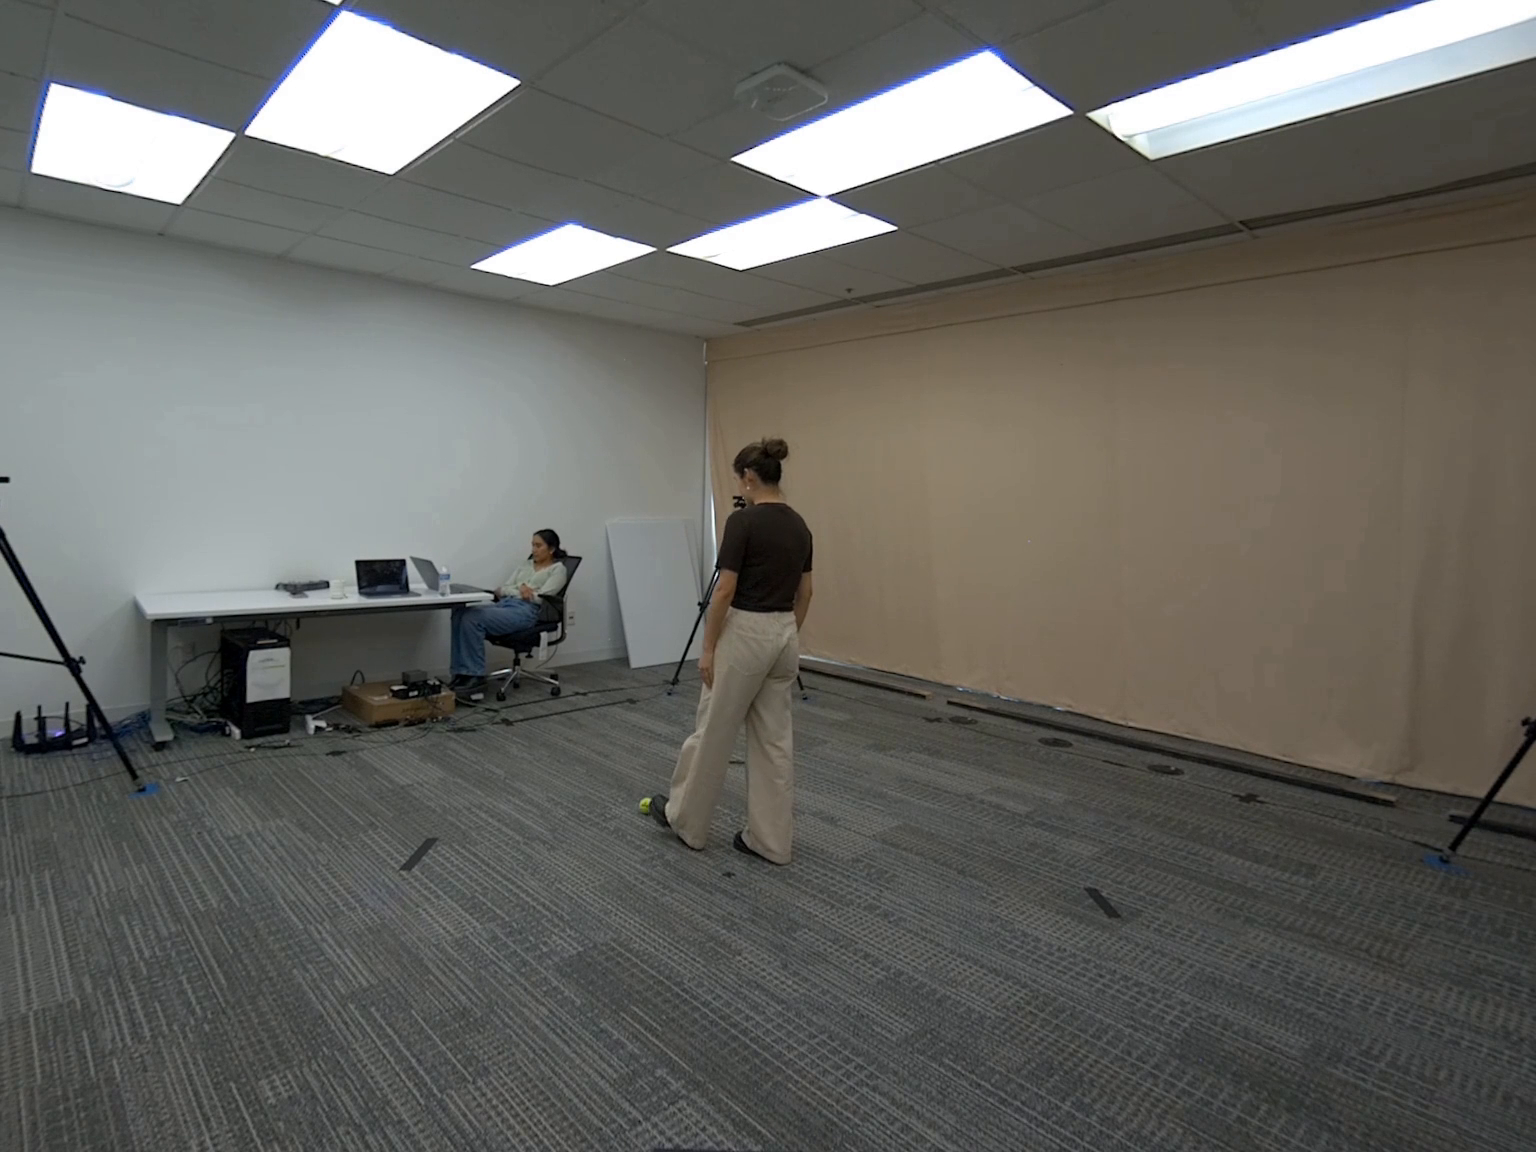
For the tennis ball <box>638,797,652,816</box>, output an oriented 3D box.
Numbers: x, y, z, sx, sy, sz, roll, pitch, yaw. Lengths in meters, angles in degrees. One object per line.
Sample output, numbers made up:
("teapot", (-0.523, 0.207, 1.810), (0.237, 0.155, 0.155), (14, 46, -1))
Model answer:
("tennis ball", (-0.540, 0.993, 3.681), (0.066, 0.066, 0.067), (1, 4, -1))
